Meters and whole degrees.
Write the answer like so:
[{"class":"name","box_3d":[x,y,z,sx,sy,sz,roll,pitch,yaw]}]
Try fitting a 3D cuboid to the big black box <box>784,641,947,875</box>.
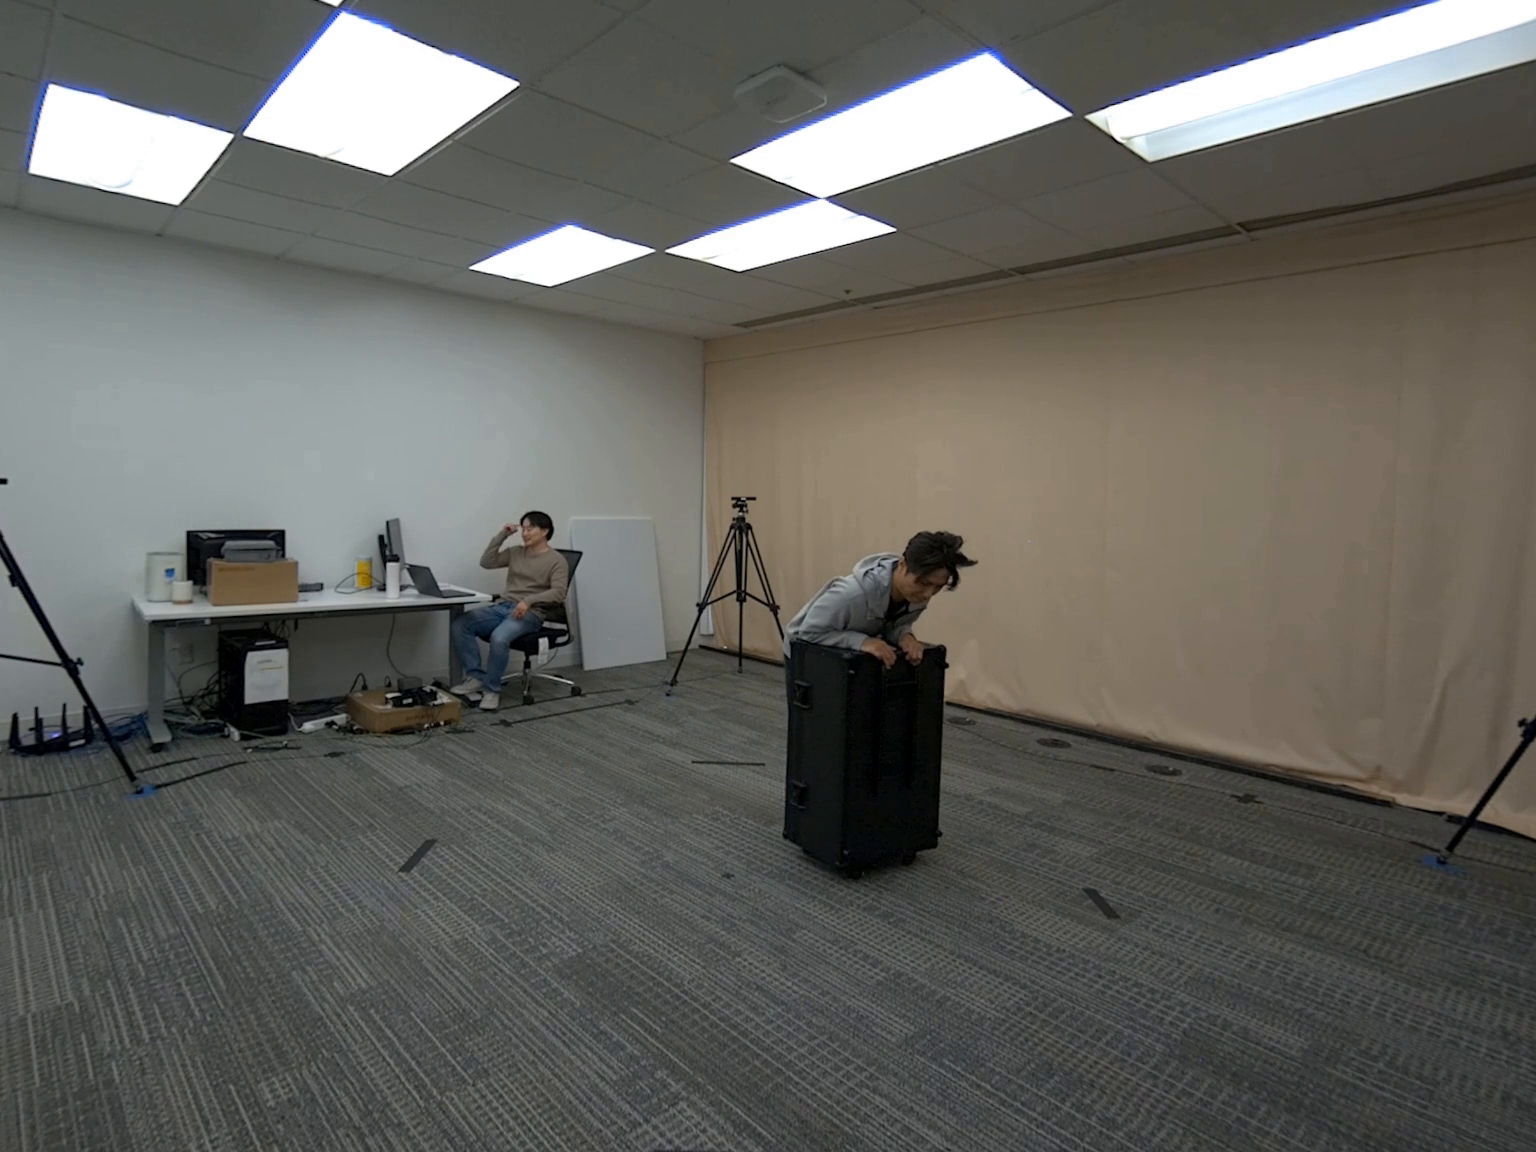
[{"class":"big black box","box_3d":[0.375,0.686,3.236,0.510,0.859,0.406,0,4,-32]}]
